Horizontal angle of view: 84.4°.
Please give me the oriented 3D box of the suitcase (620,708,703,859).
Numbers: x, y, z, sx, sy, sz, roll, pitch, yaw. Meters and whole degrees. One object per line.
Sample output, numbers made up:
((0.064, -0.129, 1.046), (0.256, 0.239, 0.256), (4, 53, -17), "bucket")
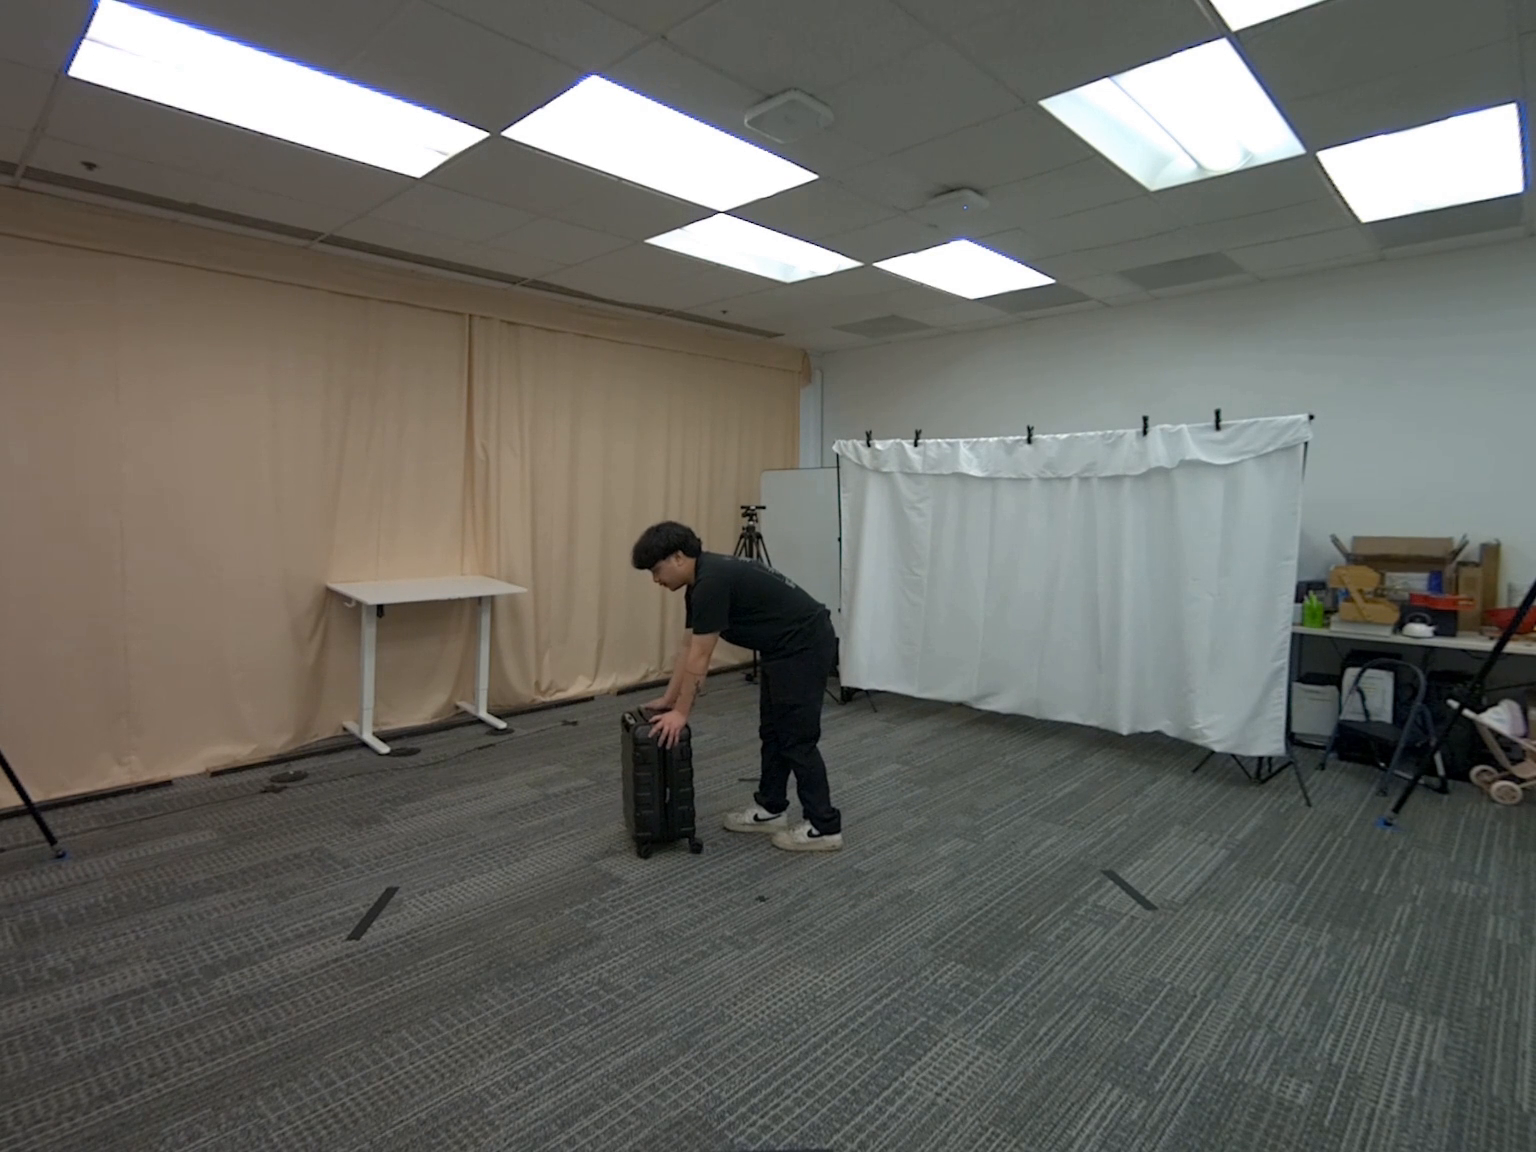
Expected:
((-0.454, 0.829, 3.496), (0.244, 0.548, 0.383), (-3, 4, -18), "suitcase")
